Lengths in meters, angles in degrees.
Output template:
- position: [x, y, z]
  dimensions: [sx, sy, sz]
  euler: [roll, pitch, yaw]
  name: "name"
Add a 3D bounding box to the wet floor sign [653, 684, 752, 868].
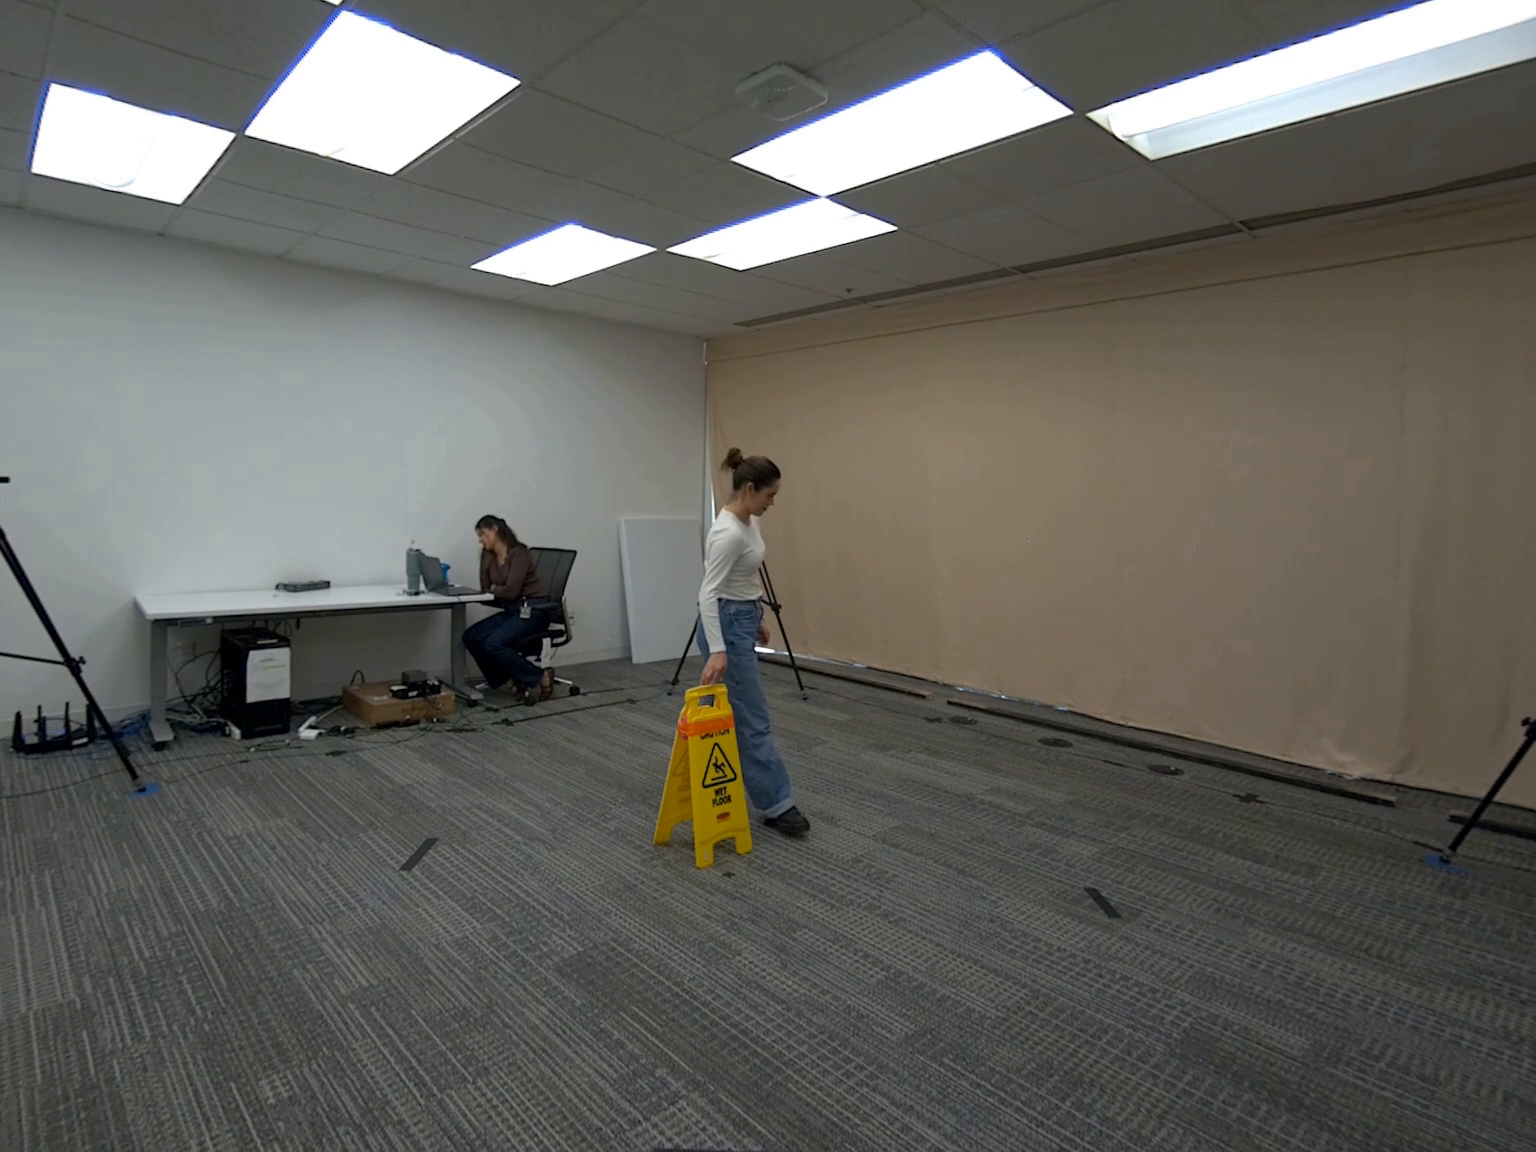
- position: [-0.265, 0.757, 3.323]
  dimensions: [0.276, 0.645, 0.297]
  euler: [-1, 4, -44]
  name: "wet floor sign"
